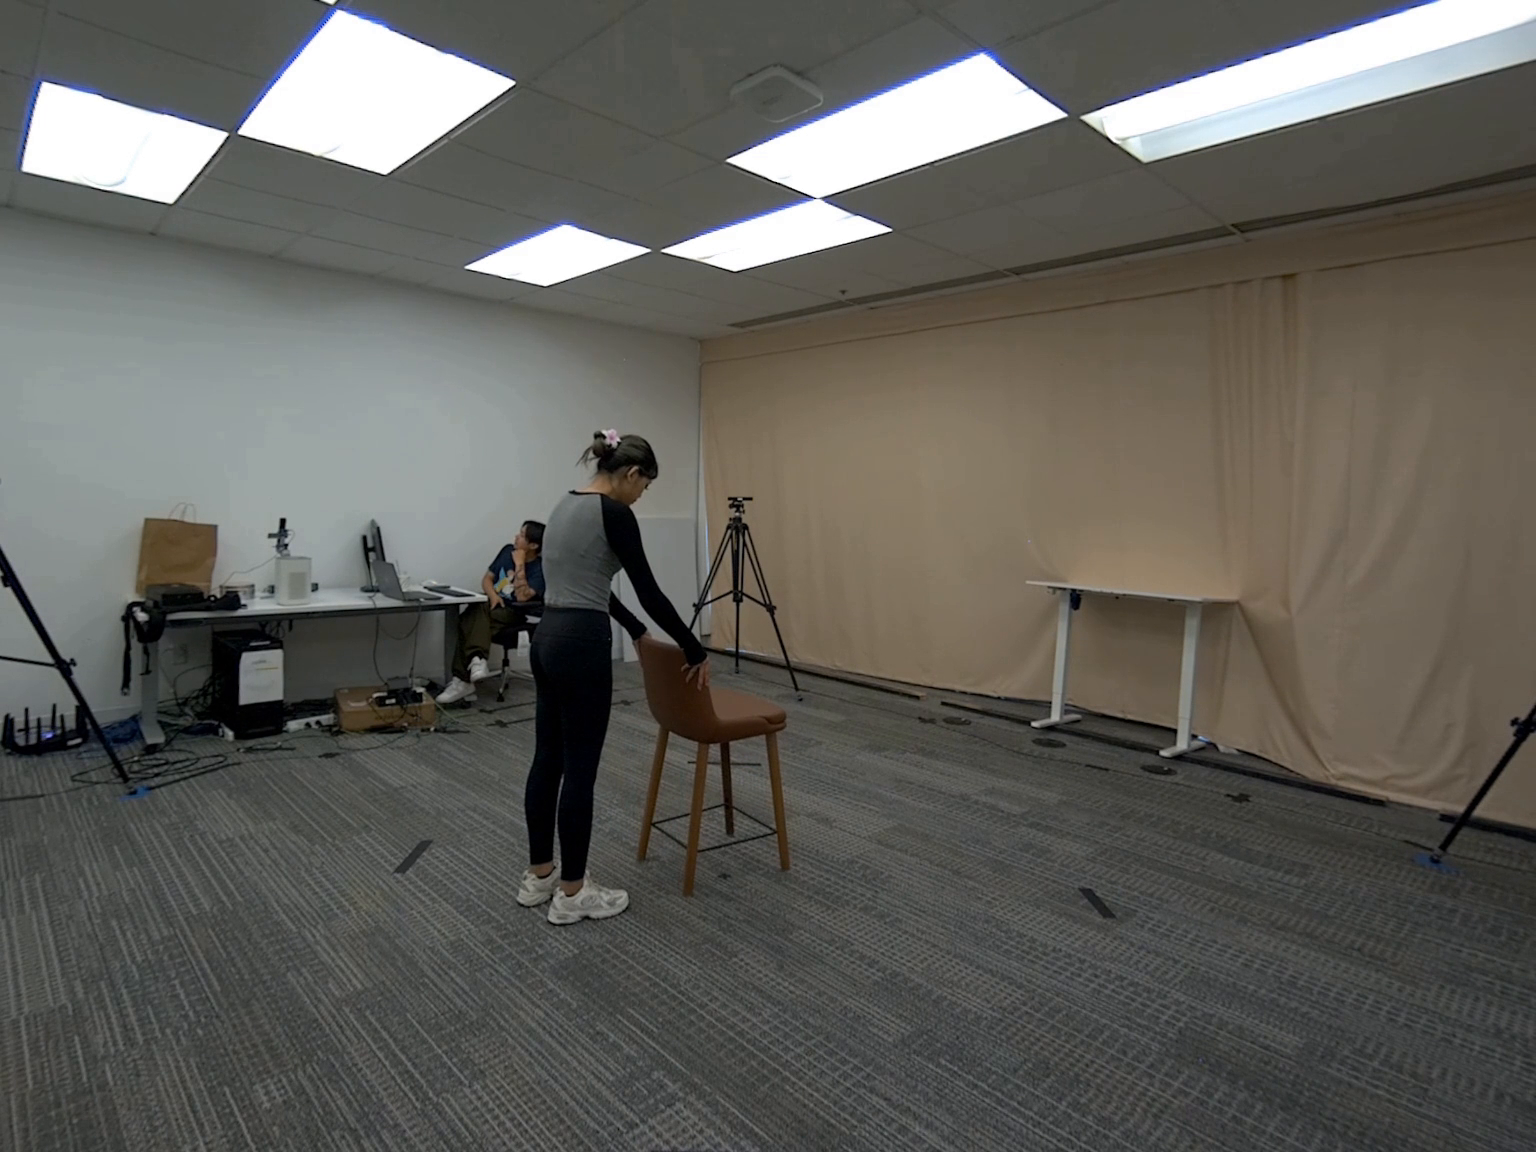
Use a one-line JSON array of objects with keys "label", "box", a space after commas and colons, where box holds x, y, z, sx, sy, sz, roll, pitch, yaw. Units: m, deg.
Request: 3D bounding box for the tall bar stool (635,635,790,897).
[{"label": "tall bar stool", "box": [-0.220, 0.661, 3.181, 0.458, 0.886, 0.468, -4, 6, -35]}]
